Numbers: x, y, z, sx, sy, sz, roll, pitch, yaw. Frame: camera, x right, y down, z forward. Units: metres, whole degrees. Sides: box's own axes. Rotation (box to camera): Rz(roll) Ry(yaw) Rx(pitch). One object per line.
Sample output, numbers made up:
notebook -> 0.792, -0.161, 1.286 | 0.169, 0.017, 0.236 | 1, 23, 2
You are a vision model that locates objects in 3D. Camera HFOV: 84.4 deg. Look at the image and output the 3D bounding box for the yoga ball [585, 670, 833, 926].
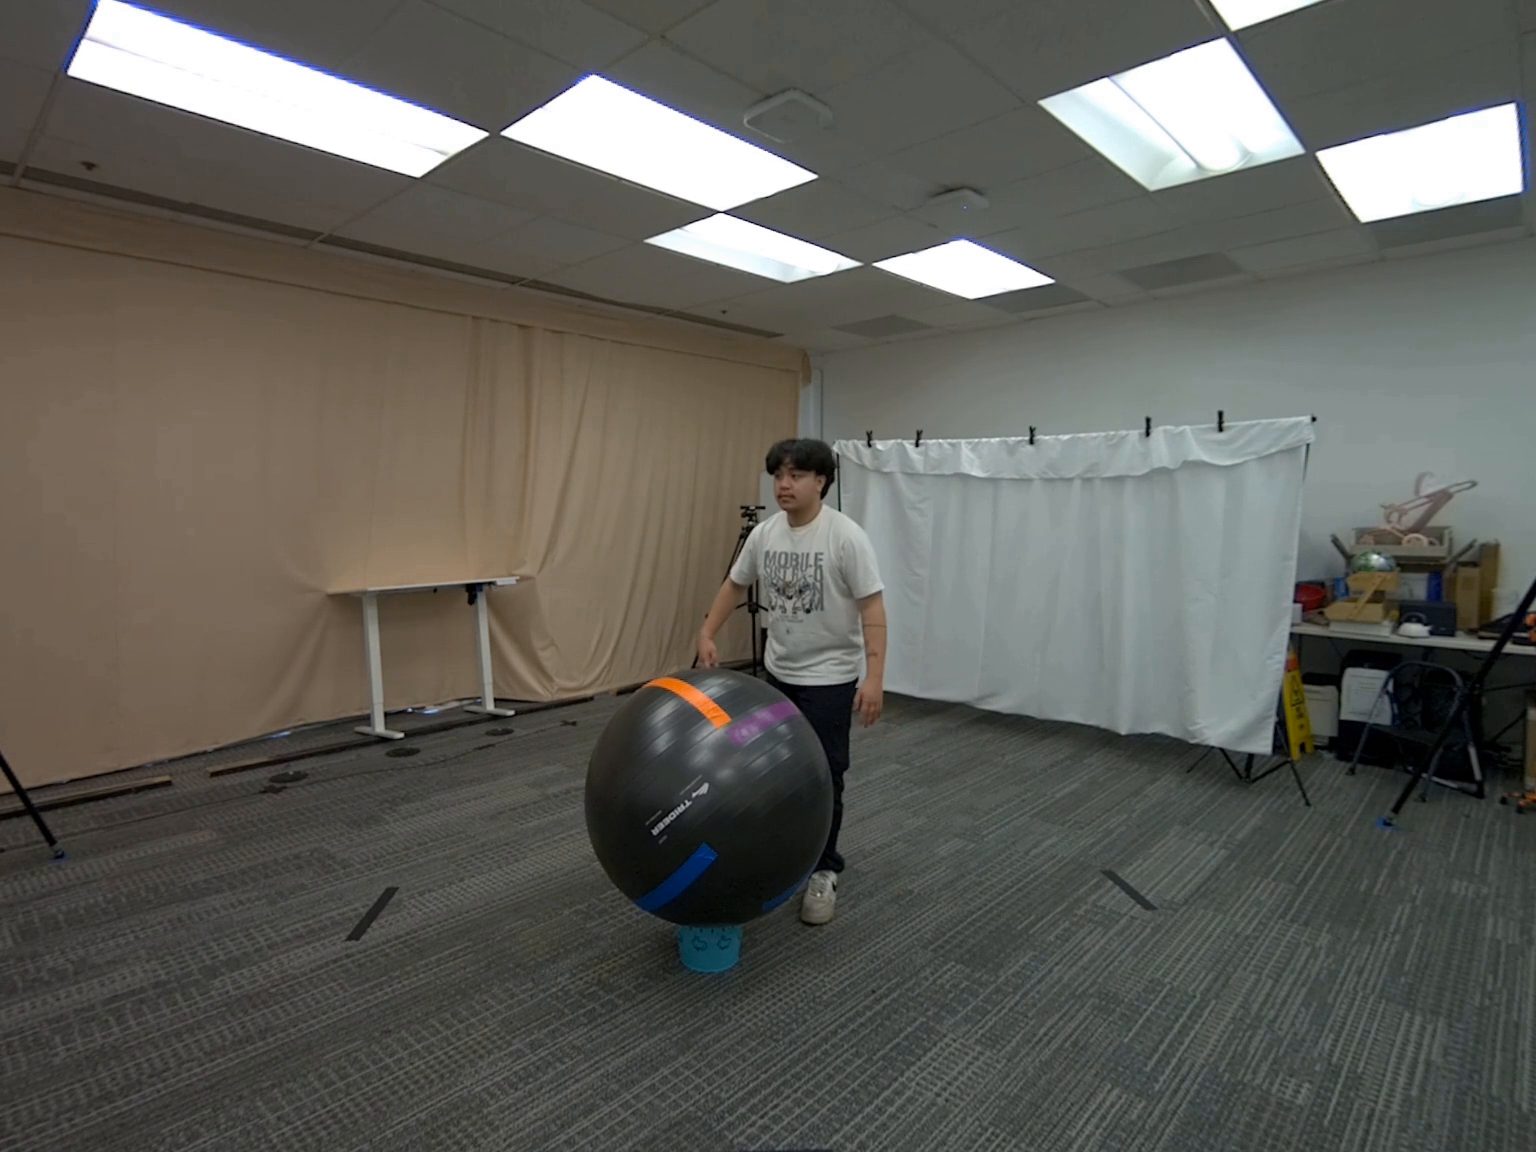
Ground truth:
yoga ball -> -0.192, 0.669, 2.576 | 0.757, 0.756, 0.760 | 0, 4, -2
